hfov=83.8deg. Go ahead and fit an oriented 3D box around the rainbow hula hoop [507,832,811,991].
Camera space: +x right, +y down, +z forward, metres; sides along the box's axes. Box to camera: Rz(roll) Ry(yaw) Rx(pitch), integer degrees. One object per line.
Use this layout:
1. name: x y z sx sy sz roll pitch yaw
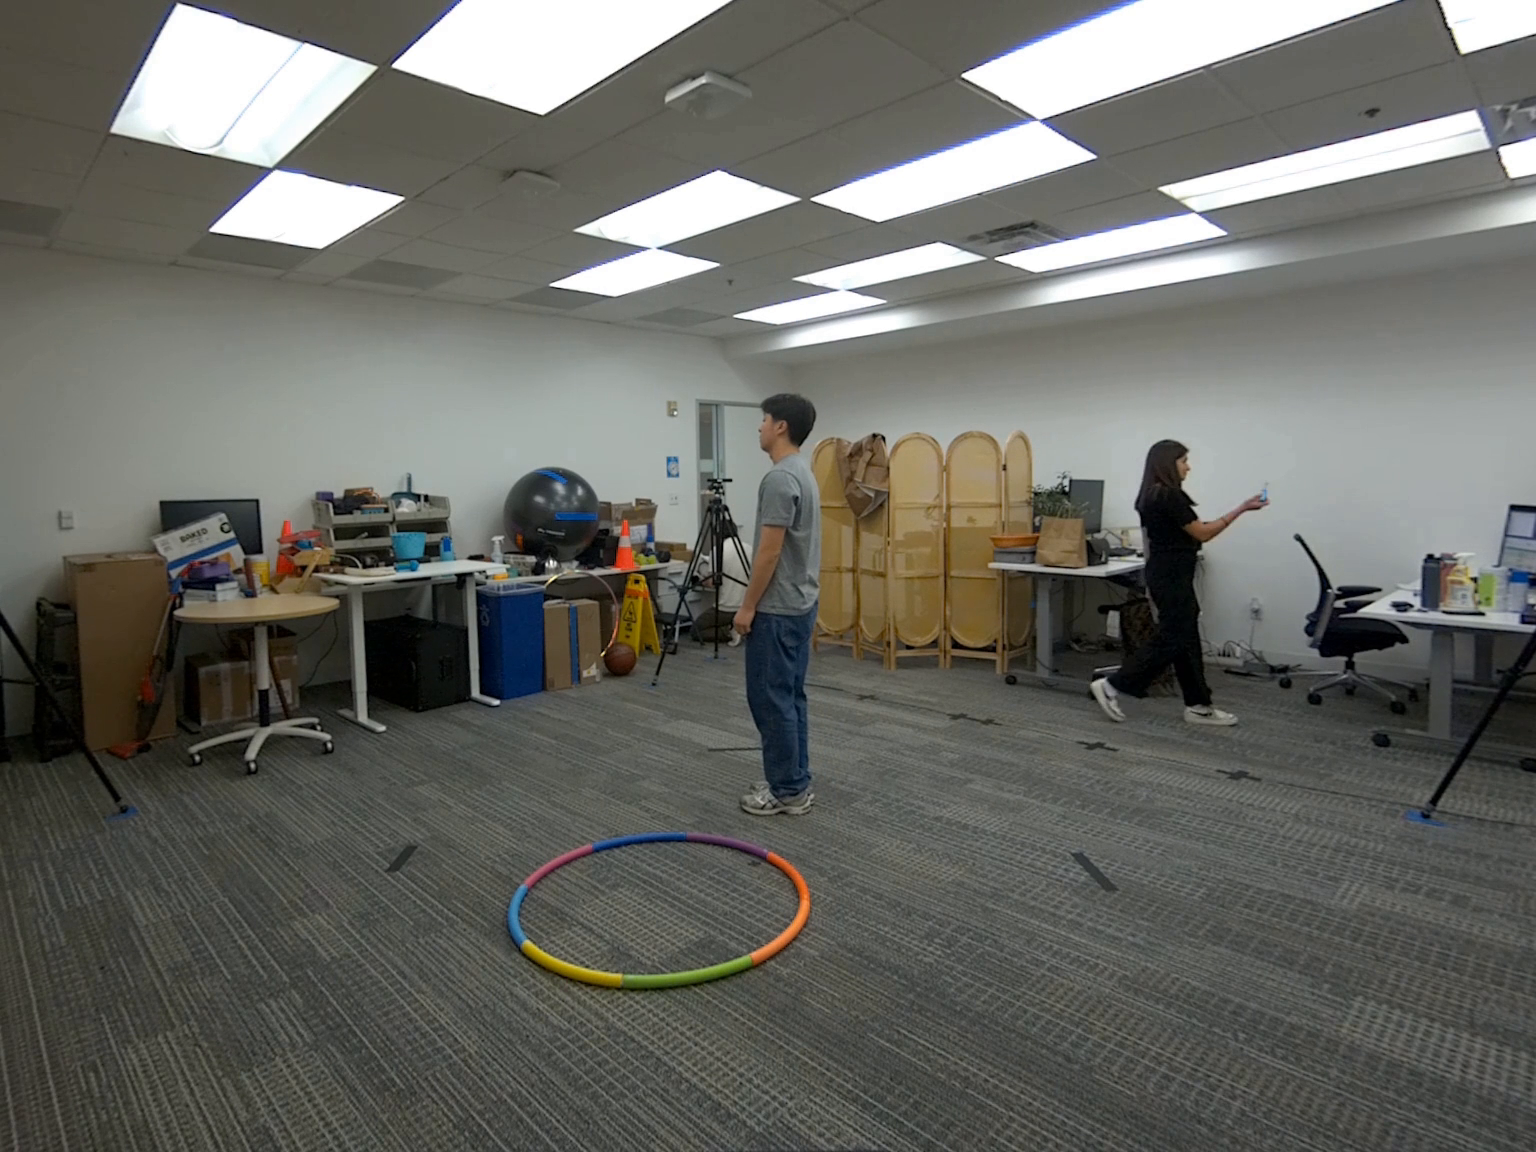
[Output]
1. rainbow hula hoop: -0.354 1.052 2.839 0.978 0.035 0.984 -2 6 -2
